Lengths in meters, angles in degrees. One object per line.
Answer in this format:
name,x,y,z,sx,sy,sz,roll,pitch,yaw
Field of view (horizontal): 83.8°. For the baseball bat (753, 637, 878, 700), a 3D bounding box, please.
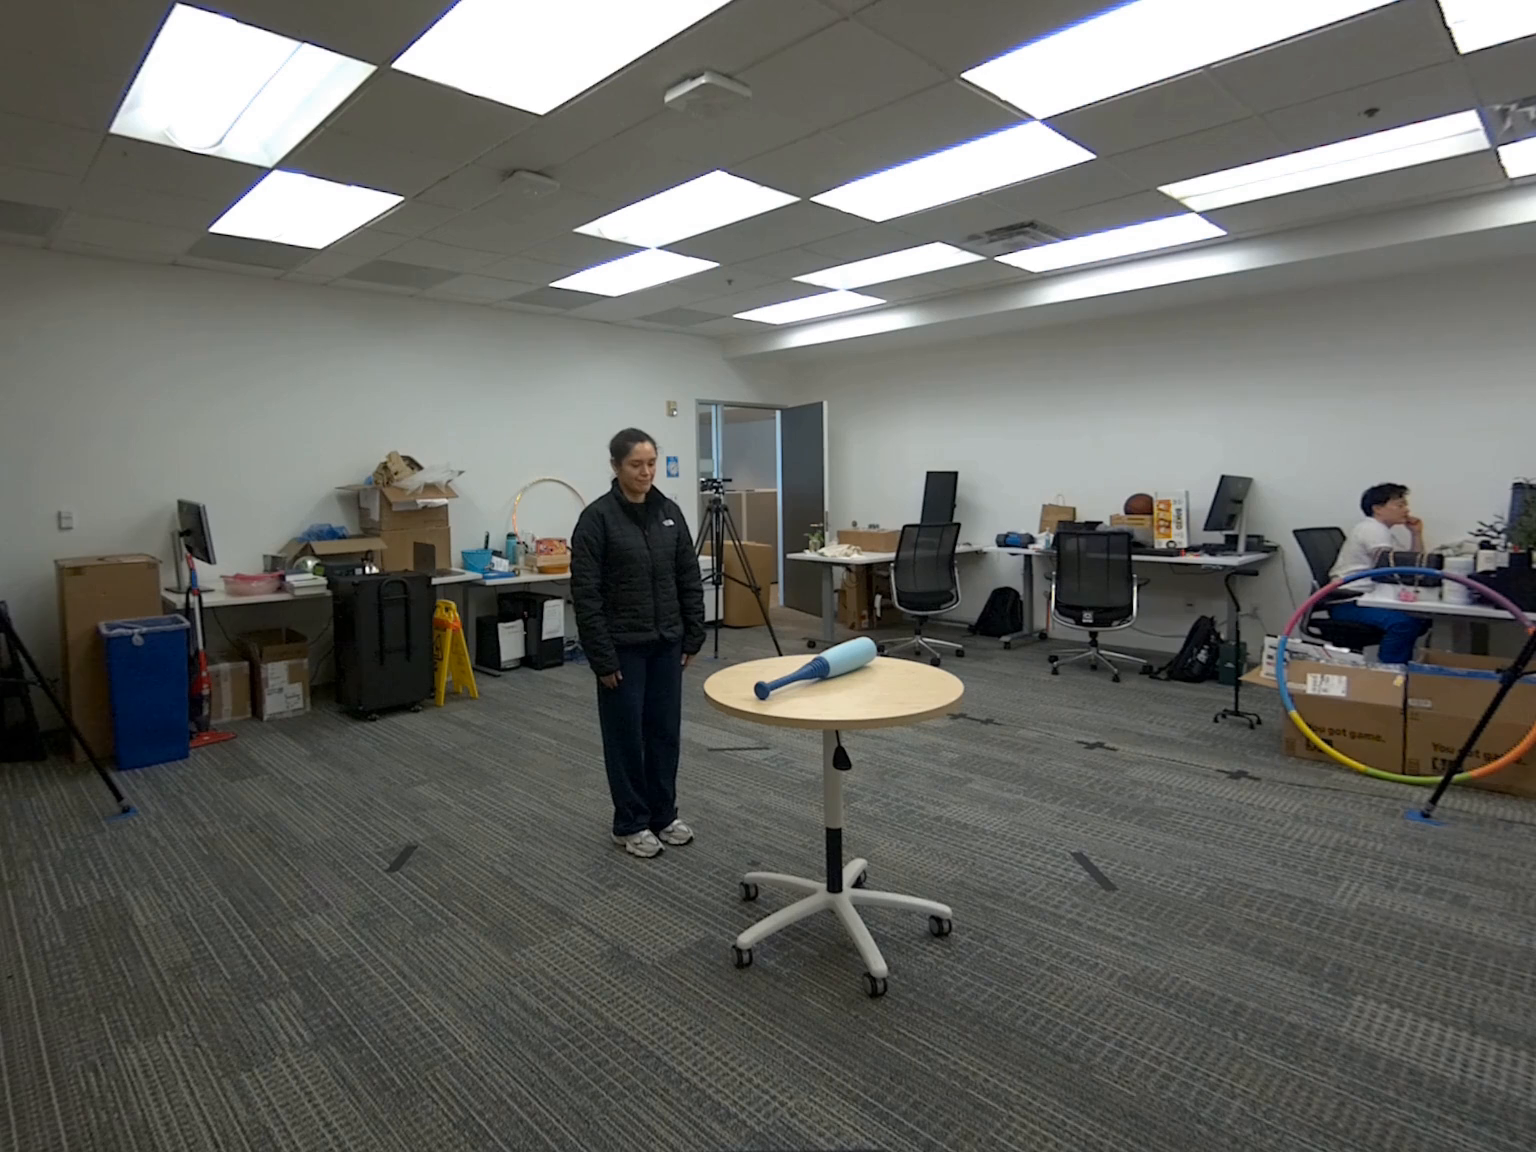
baseball bat,0.151,0.281,2.589,0.092,0.088,0.531,3,12,39
